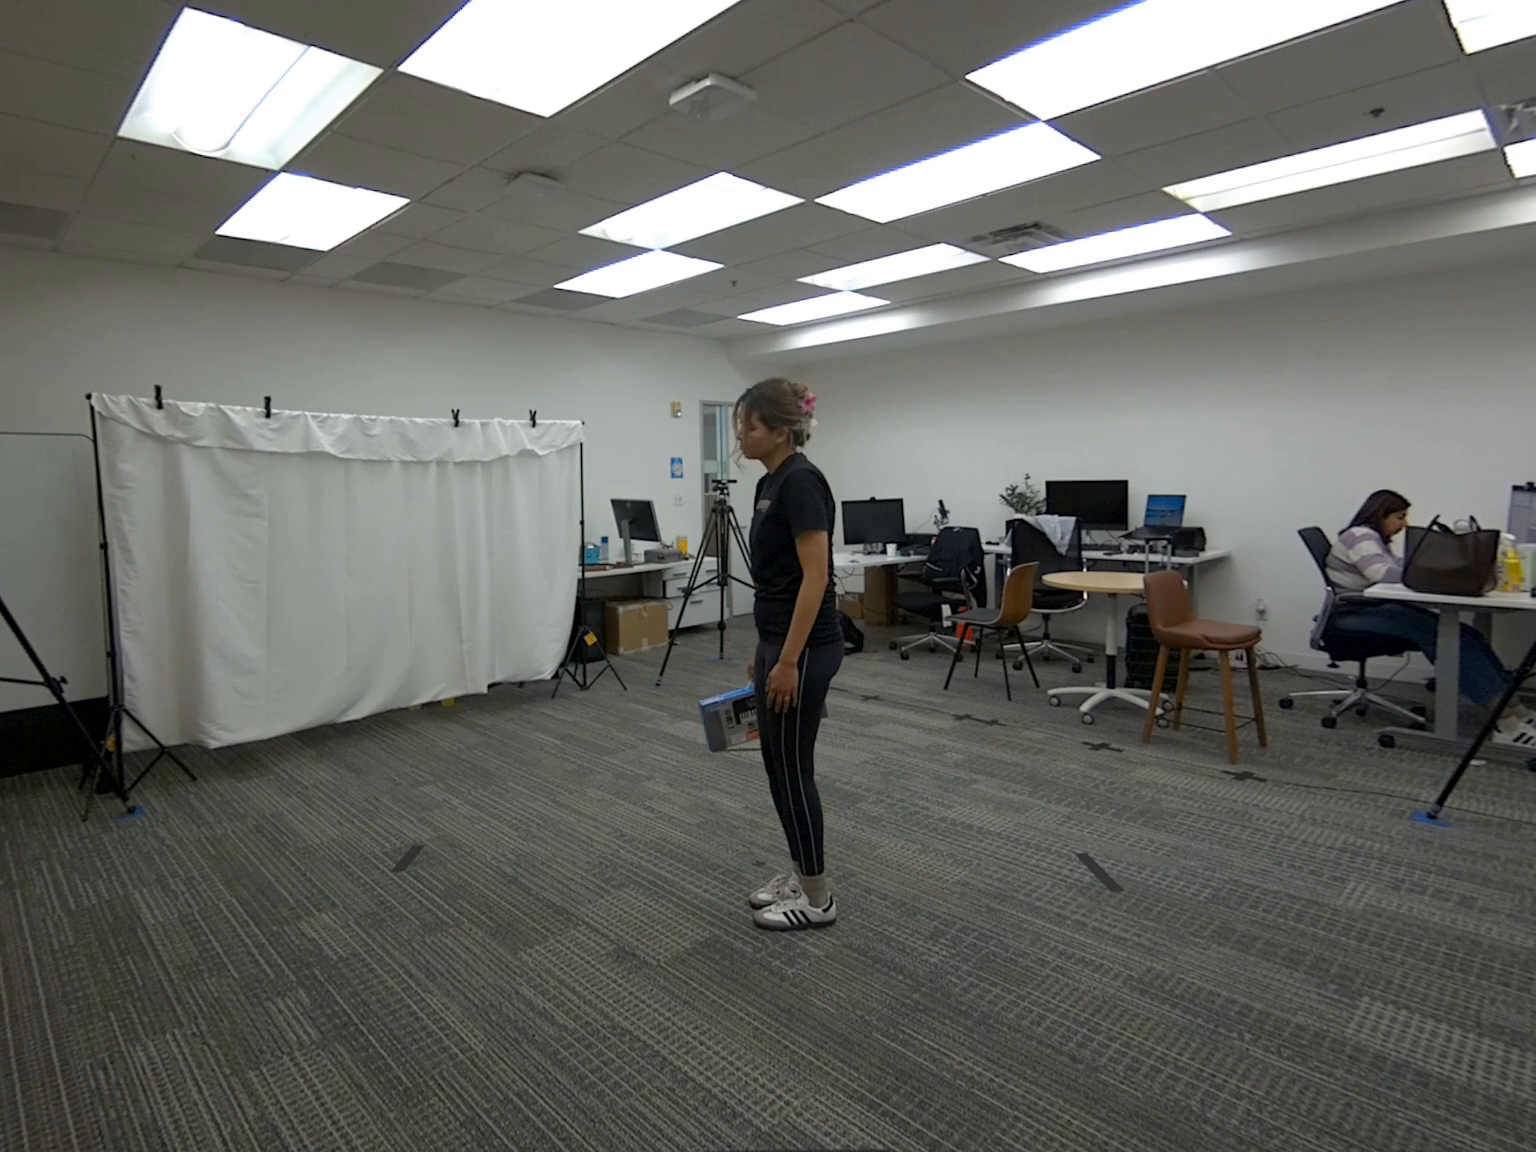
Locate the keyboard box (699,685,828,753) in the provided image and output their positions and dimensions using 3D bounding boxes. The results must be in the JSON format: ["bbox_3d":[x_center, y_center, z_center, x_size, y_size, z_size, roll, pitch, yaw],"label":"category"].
[{"bbox_3d":[-0.008,0.470,2.968,0.432,0.175,0.060,-14,7,-14],"label":"keyboard box"}]
